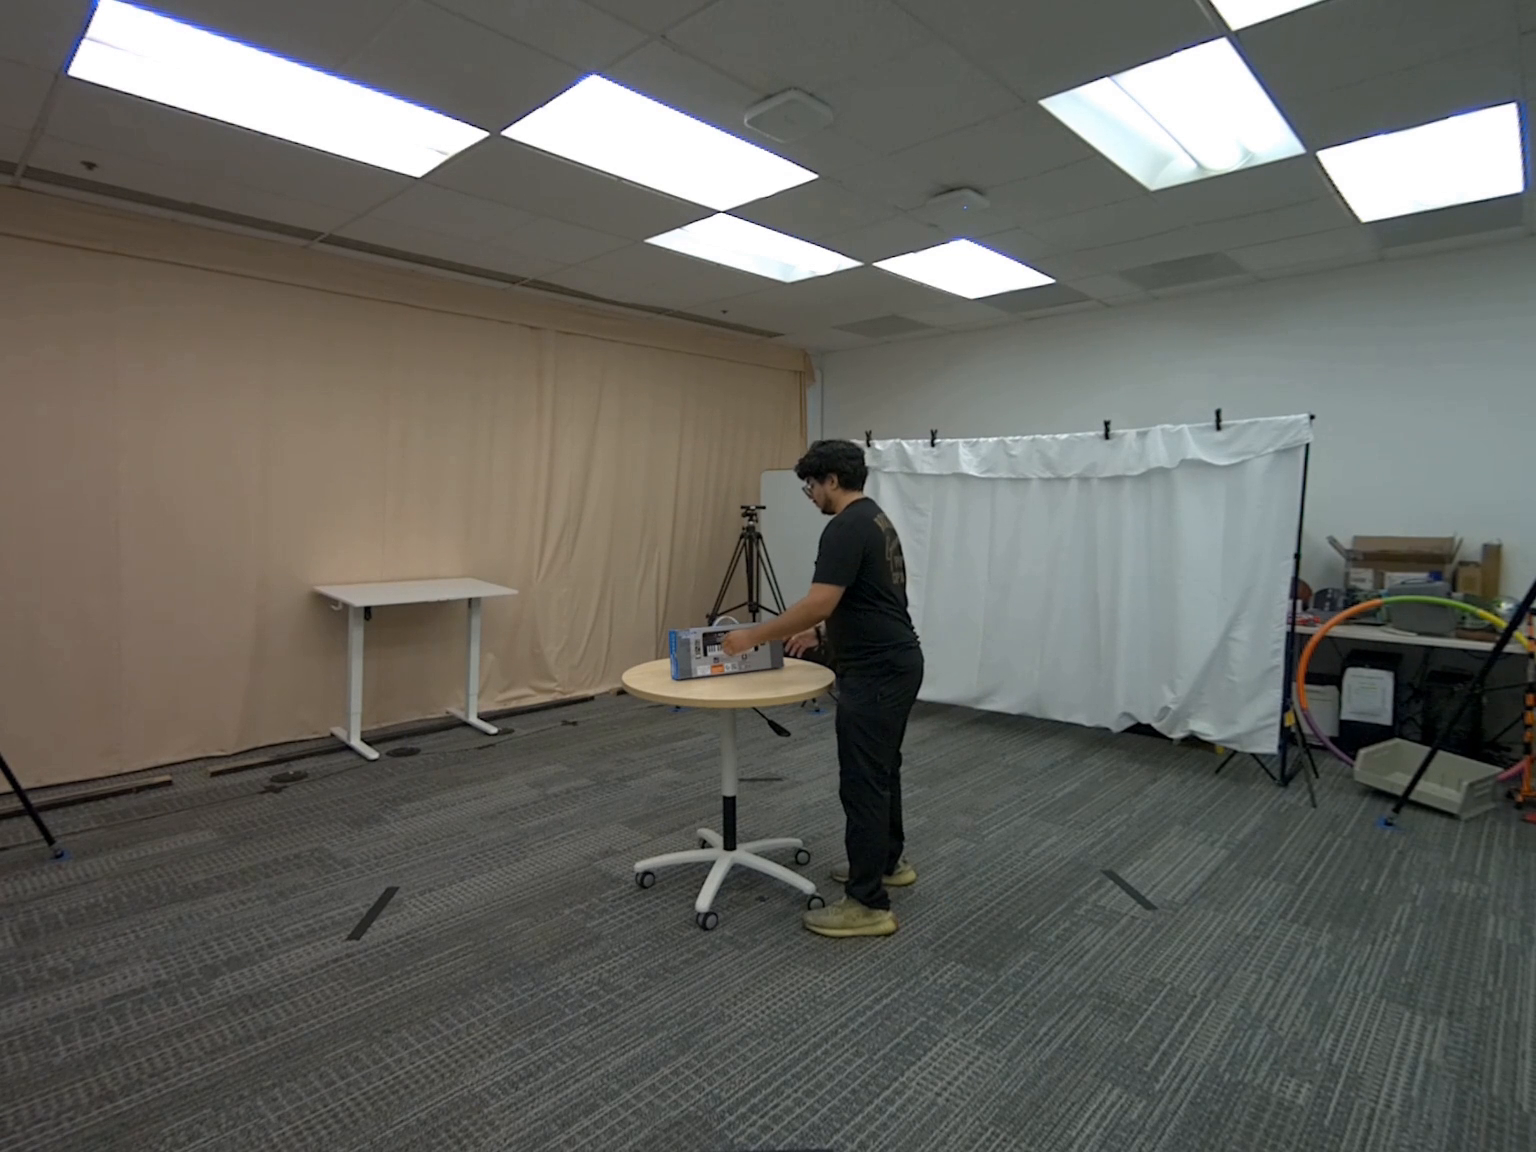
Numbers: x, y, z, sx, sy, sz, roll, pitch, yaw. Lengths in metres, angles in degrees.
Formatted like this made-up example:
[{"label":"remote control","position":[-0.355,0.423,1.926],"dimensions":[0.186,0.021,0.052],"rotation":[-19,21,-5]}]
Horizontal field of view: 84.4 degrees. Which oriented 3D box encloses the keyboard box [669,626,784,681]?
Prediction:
[{"label":"keyboard box","position":[-0.143,0.270,3.058],"dimensions":[0.426,0.176,0.060],"rotation":[-3,0,-27]}]
